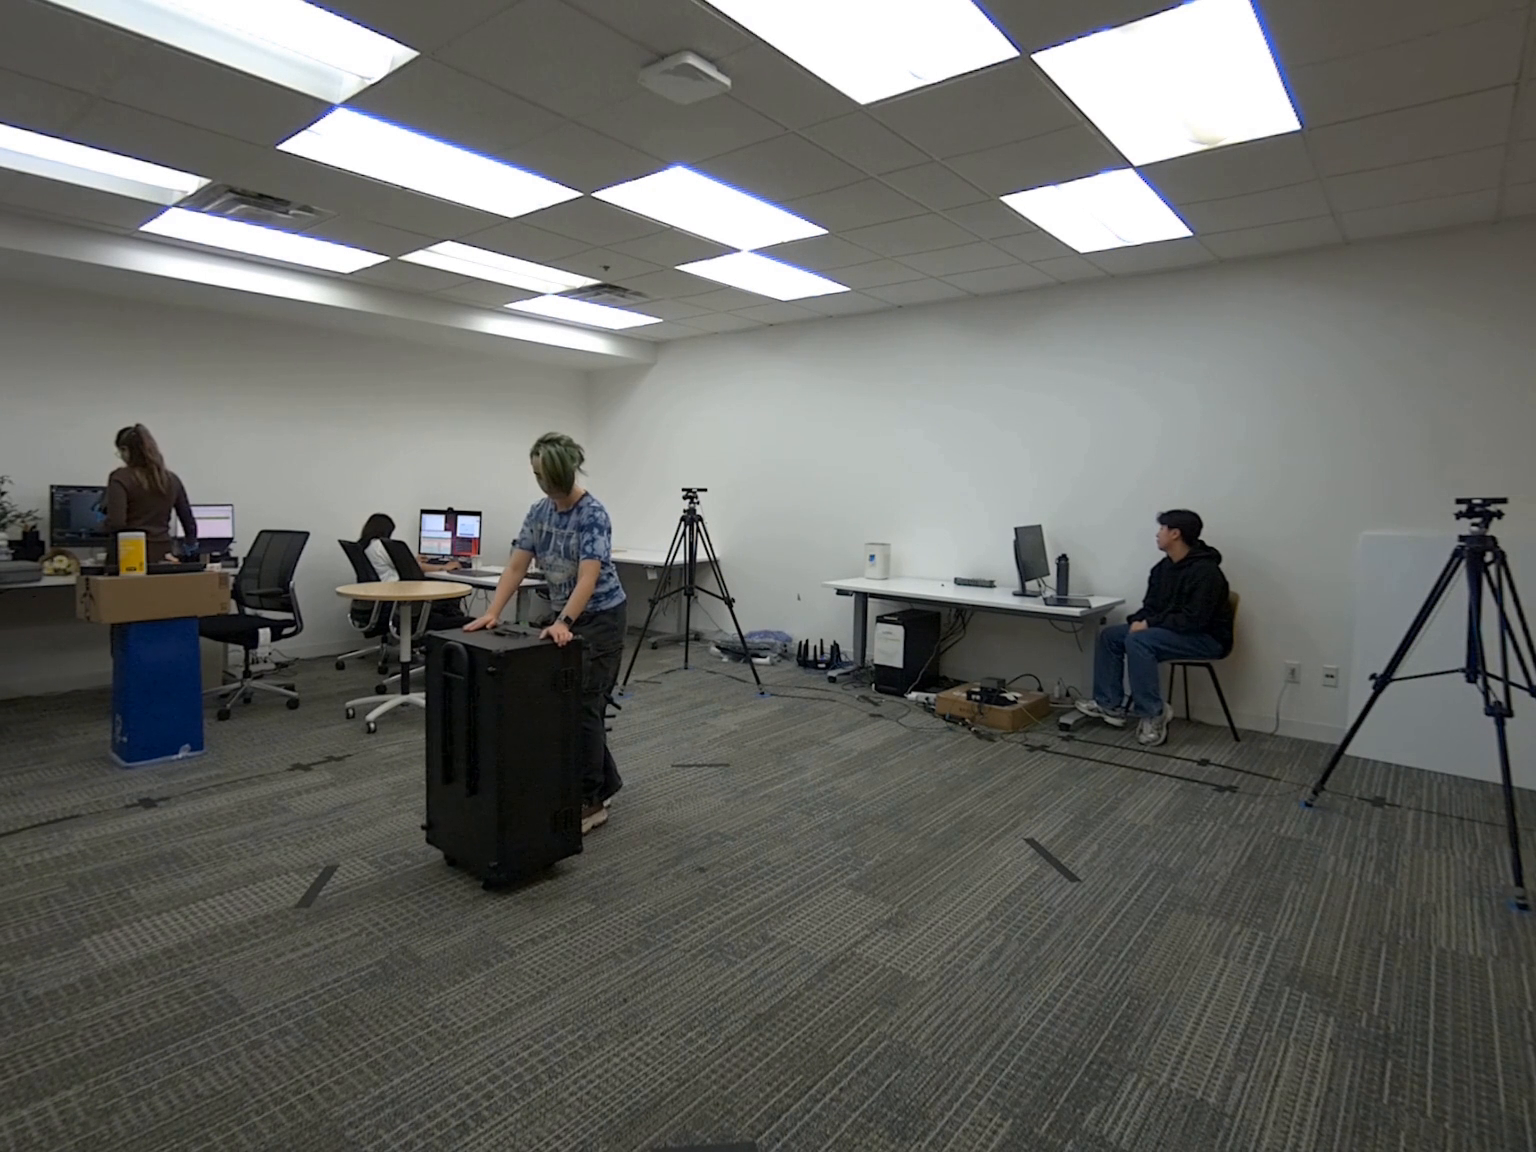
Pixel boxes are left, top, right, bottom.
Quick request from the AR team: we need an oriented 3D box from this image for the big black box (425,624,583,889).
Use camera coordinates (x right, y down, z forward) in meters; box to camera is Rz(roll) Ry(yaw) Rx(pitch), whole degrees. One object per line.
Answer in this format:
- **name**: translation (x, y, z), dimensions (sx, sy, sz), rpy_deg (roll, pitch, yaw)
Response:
- **big black box**: translation (-0.977, 0.635, 3.073), dimensions (0.539, 0.858, 0.384), rpy_deg (4, 5, 42)
